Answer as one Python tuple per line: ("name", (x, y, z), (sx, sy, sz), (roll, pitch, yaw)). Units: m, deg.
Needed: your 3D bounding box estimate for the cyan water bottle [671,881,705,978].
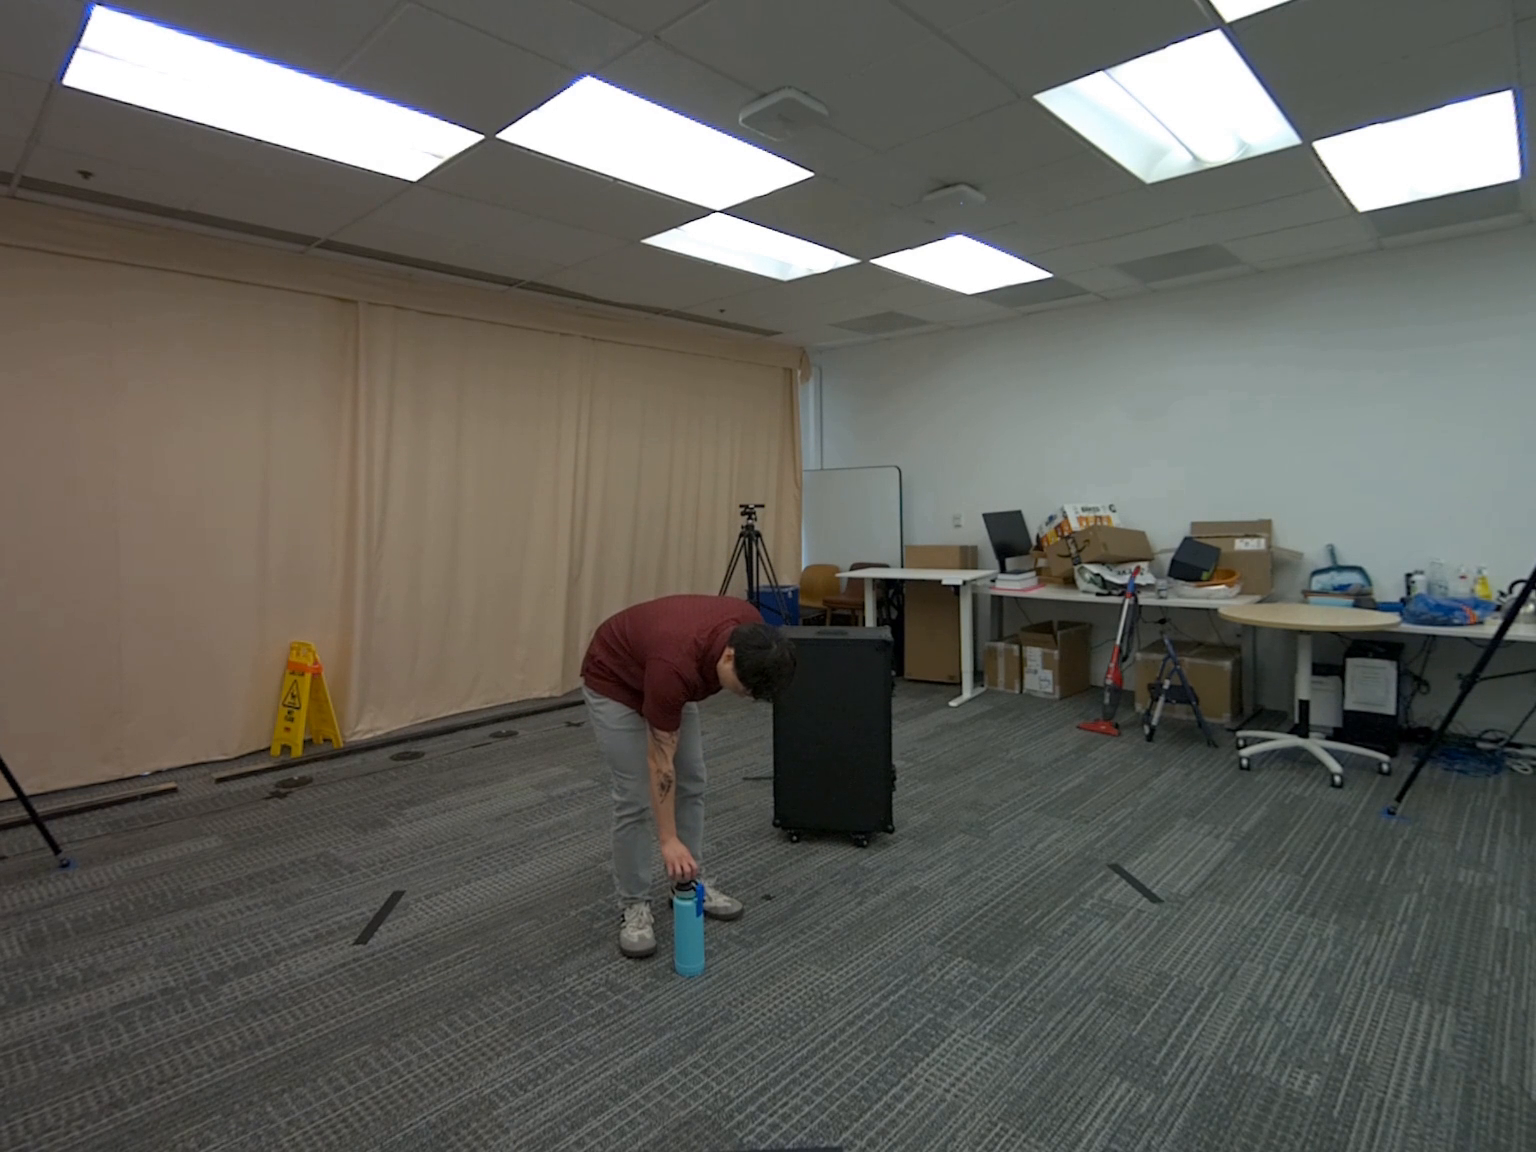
("cyan water bottle", (-0.227, 1.037, 2.534), (0.092, 0.284, 0.092), (0, -1, -2))
